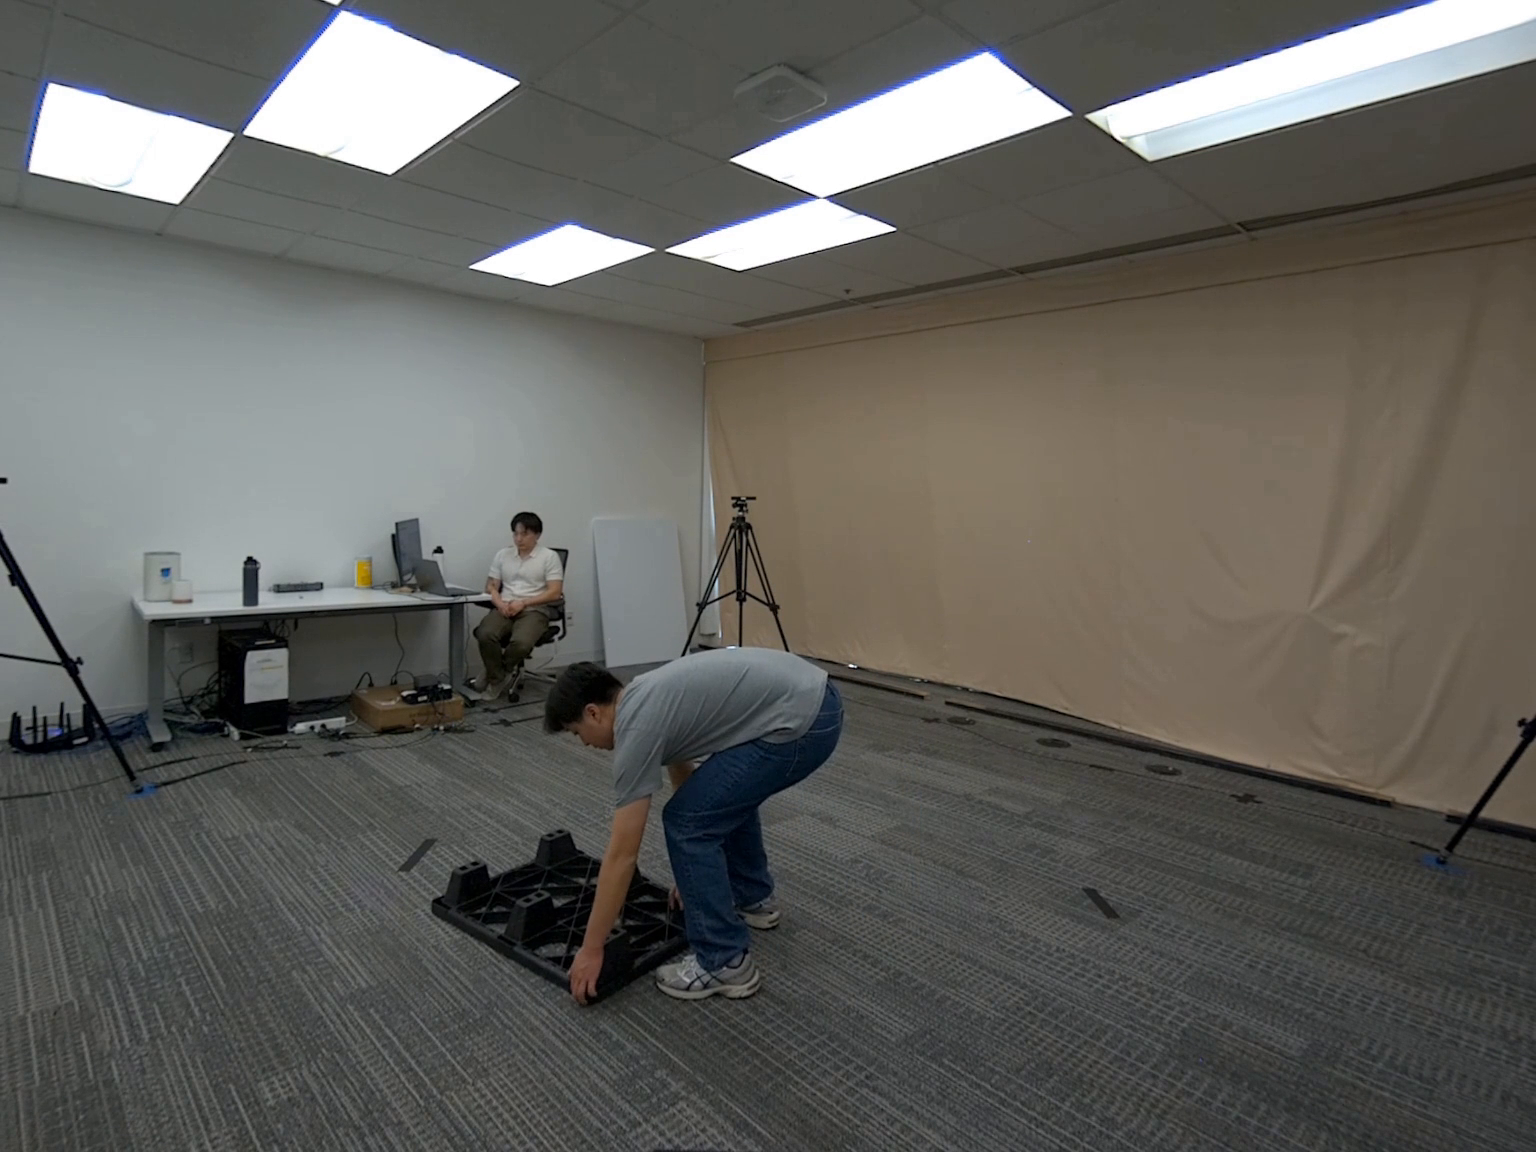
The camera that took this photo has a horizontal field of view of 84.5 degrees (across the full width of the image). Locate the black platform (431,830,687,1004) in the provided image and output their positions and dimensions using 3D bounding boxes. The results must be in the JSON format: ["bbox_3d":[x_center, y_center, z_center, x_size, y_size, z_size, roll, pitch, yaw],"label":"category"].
[{"bbox_3d":[-0.633,1.060,2.764,0.825,0.143,0.592,5,6,37],"label":"black platform"}]
